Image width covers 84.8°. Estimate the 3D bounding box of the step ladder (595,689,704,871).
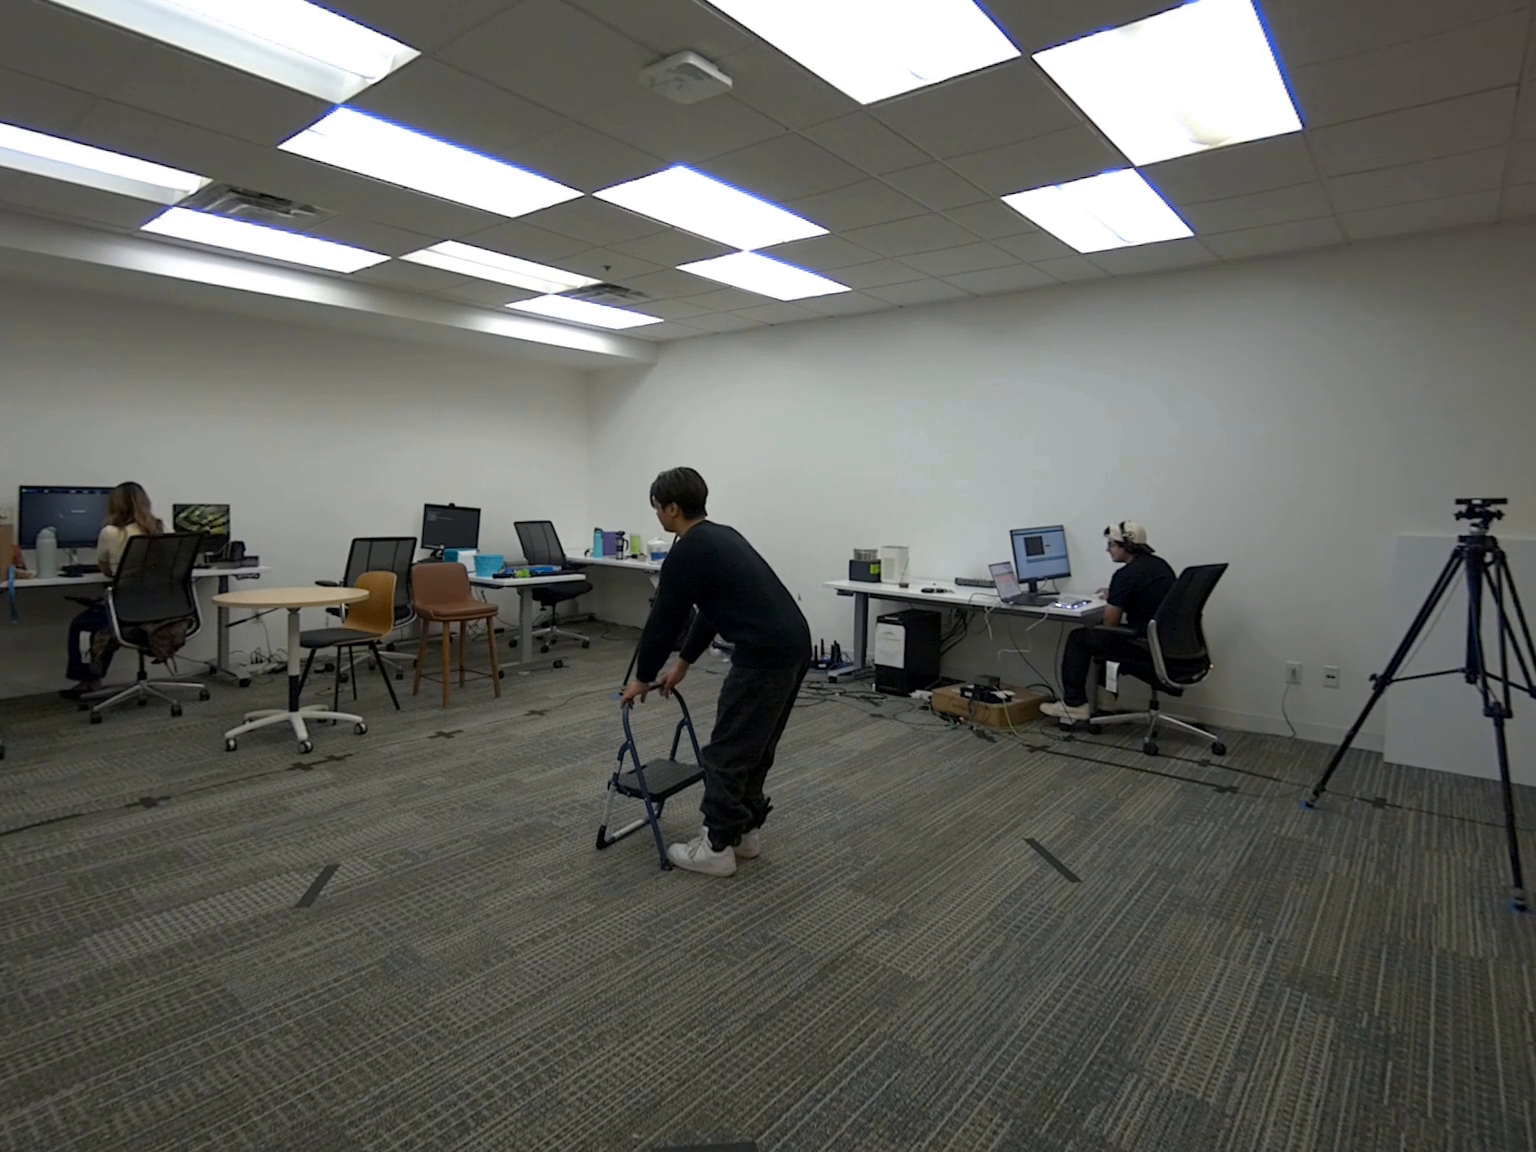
[{"bbox_3d":[-0.426,0.739,3.348,0.359,0.604,0.420,3,4,29],"label":"step ladder"}]
